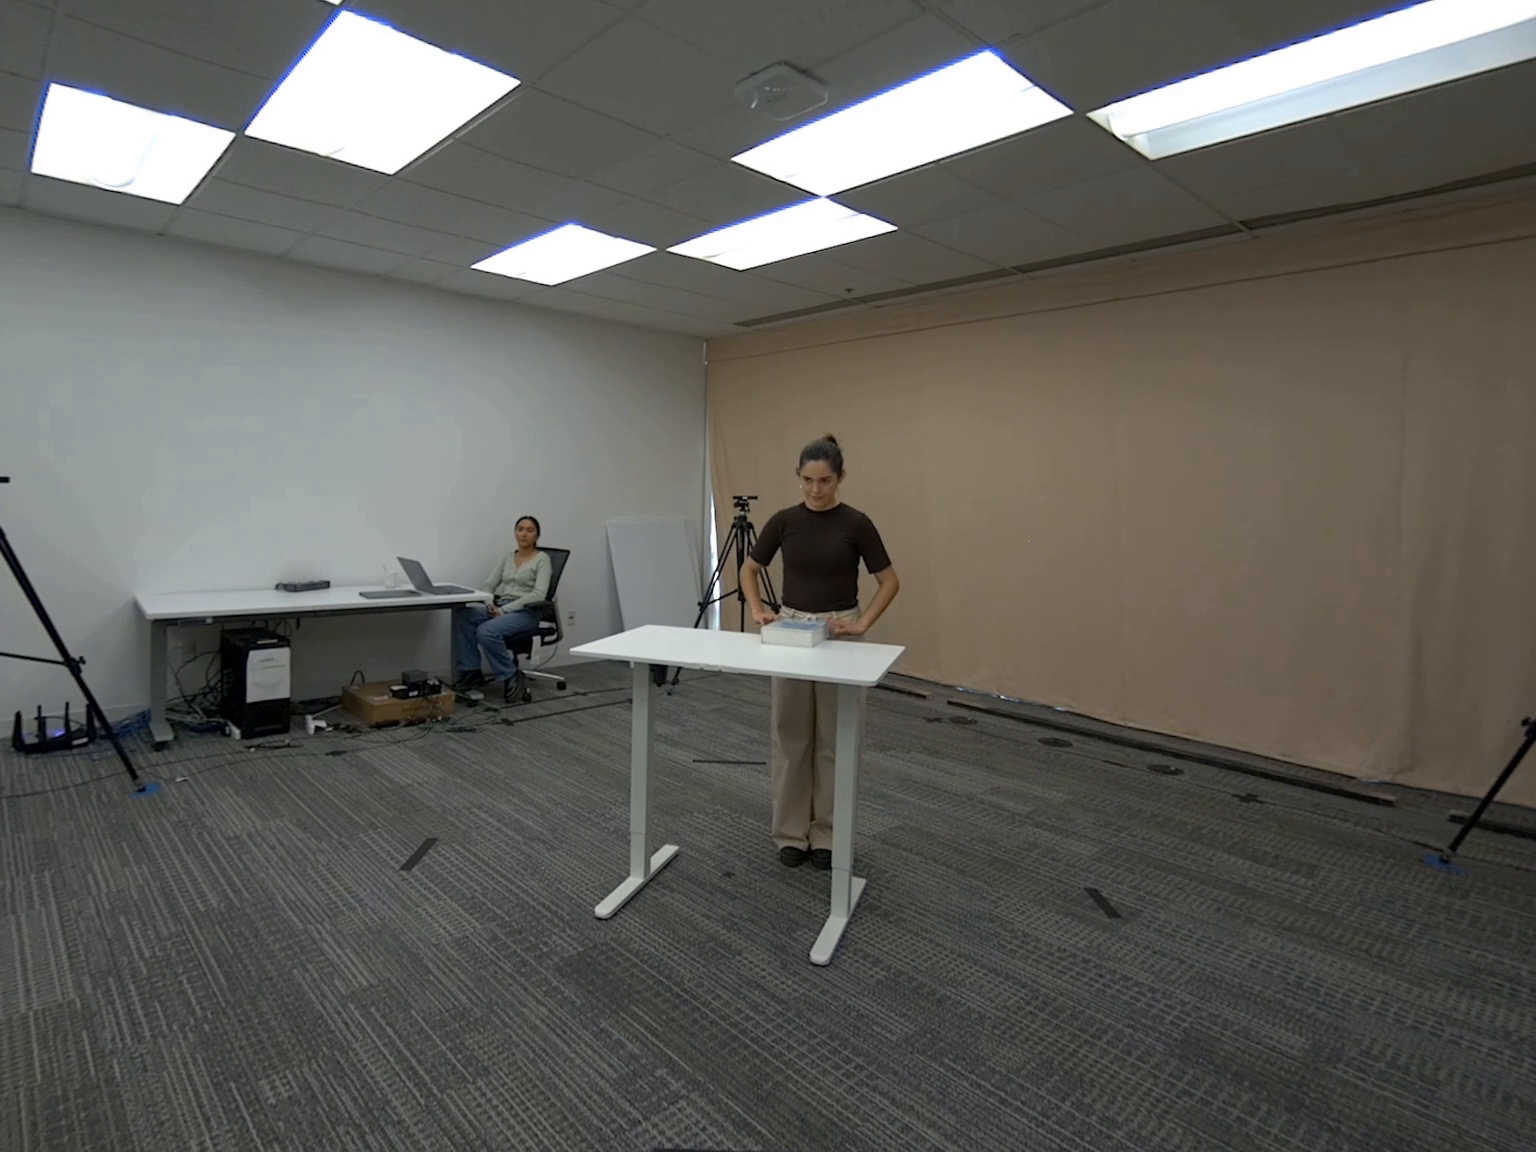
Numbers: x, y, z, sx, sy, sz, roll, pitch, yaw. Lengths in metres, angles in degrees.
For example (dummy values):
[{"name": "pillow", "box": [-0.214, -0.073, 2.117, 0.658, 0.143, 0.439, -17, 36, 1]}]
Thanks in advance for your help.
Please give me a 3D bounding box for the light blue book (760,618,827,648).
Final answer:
[{"name": "light blue book", "box": [0.104, 0.203, 3.036, 0.194, 0.059, 0.257, 5, 6, 20]}]
